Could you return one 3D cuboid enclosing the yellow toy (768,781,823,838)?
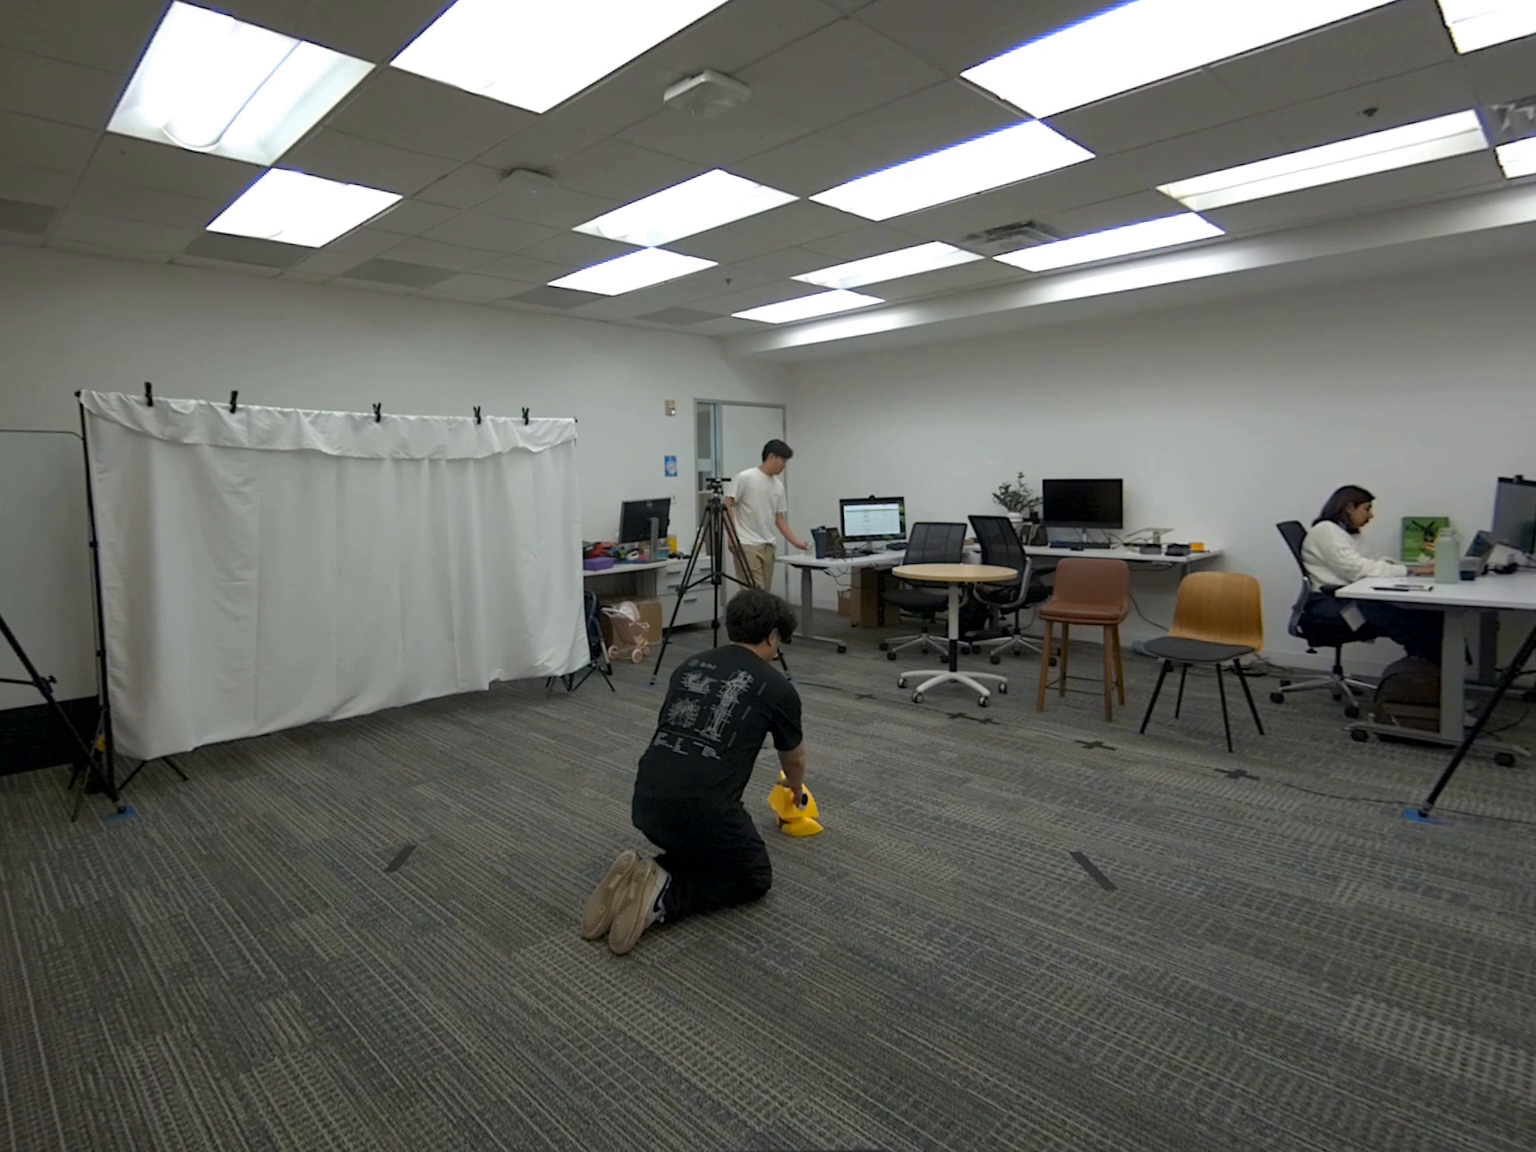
[{"bbox_3d":[0.114,0.890,3.426,0.190,0.230,0.208,-3,5,-16],"label":"yellow toy"}]
